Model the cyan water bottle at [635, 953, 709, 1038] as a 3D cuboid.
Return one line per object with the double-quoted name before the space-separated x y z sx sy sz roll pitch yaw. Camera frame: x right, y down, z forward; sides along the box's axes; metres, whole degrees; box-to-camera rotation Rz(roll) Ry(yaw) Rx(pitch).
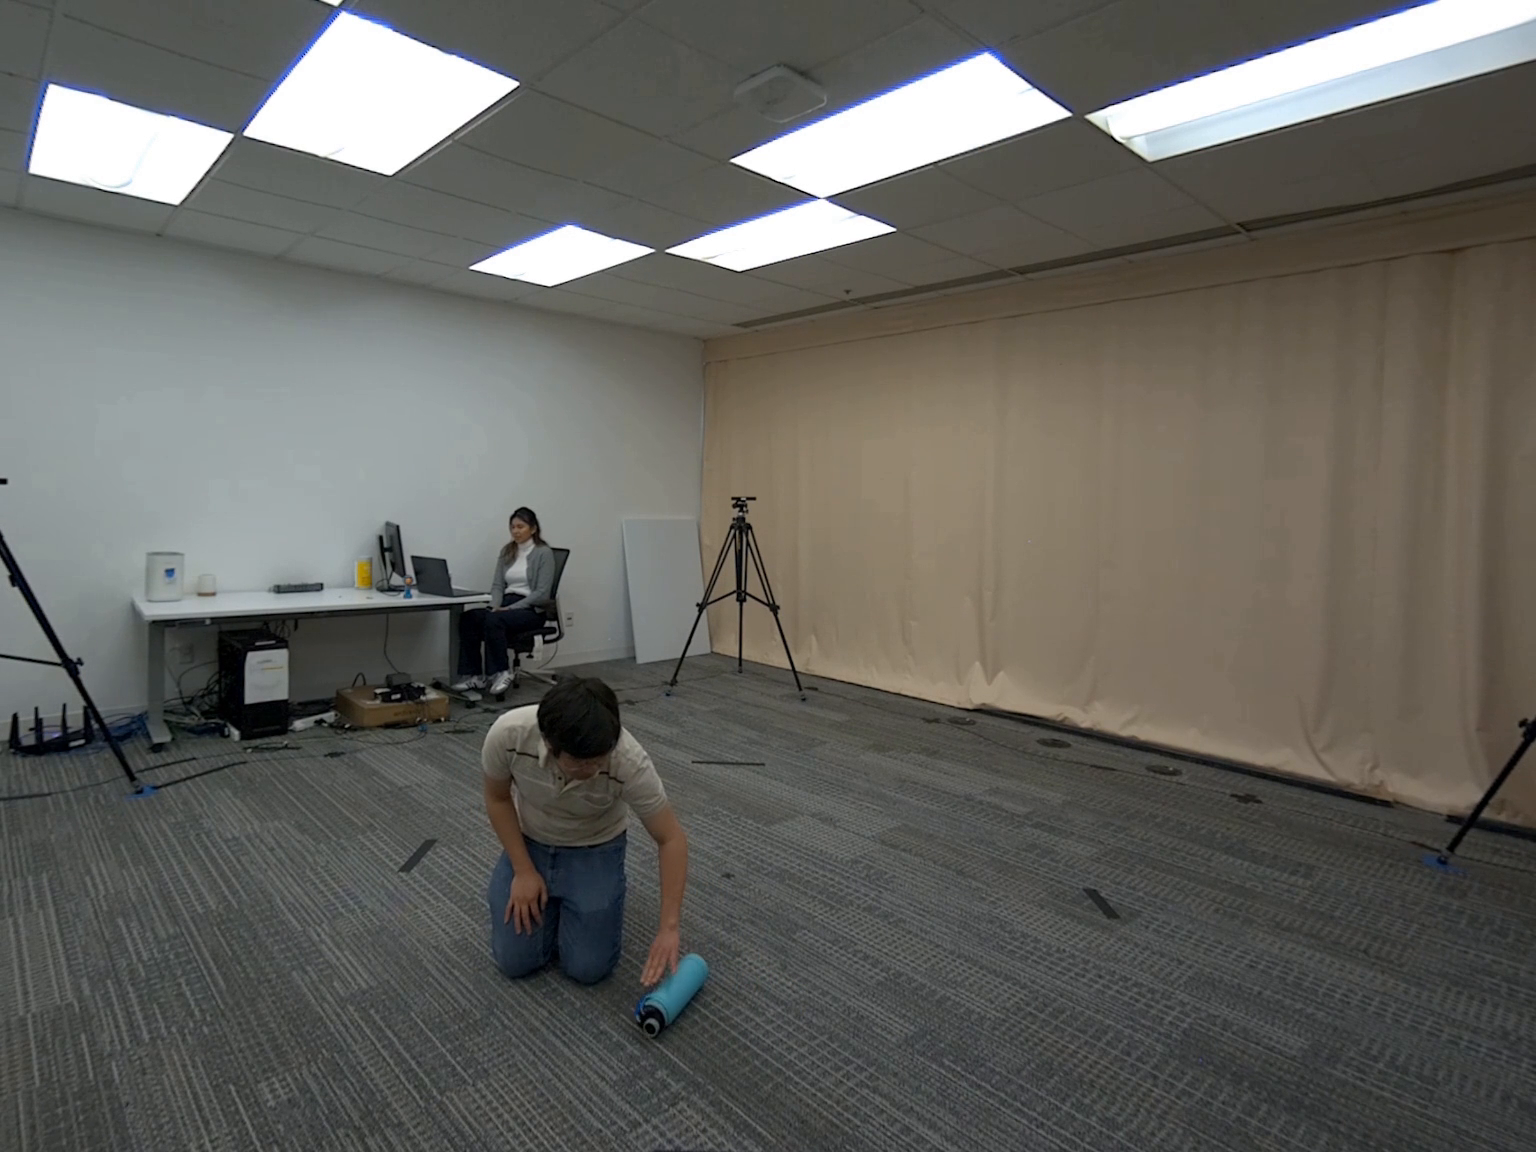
"cyan water bottle" -0.270 1.132 2.274 0.094 0.092 0.280 3 7 20
